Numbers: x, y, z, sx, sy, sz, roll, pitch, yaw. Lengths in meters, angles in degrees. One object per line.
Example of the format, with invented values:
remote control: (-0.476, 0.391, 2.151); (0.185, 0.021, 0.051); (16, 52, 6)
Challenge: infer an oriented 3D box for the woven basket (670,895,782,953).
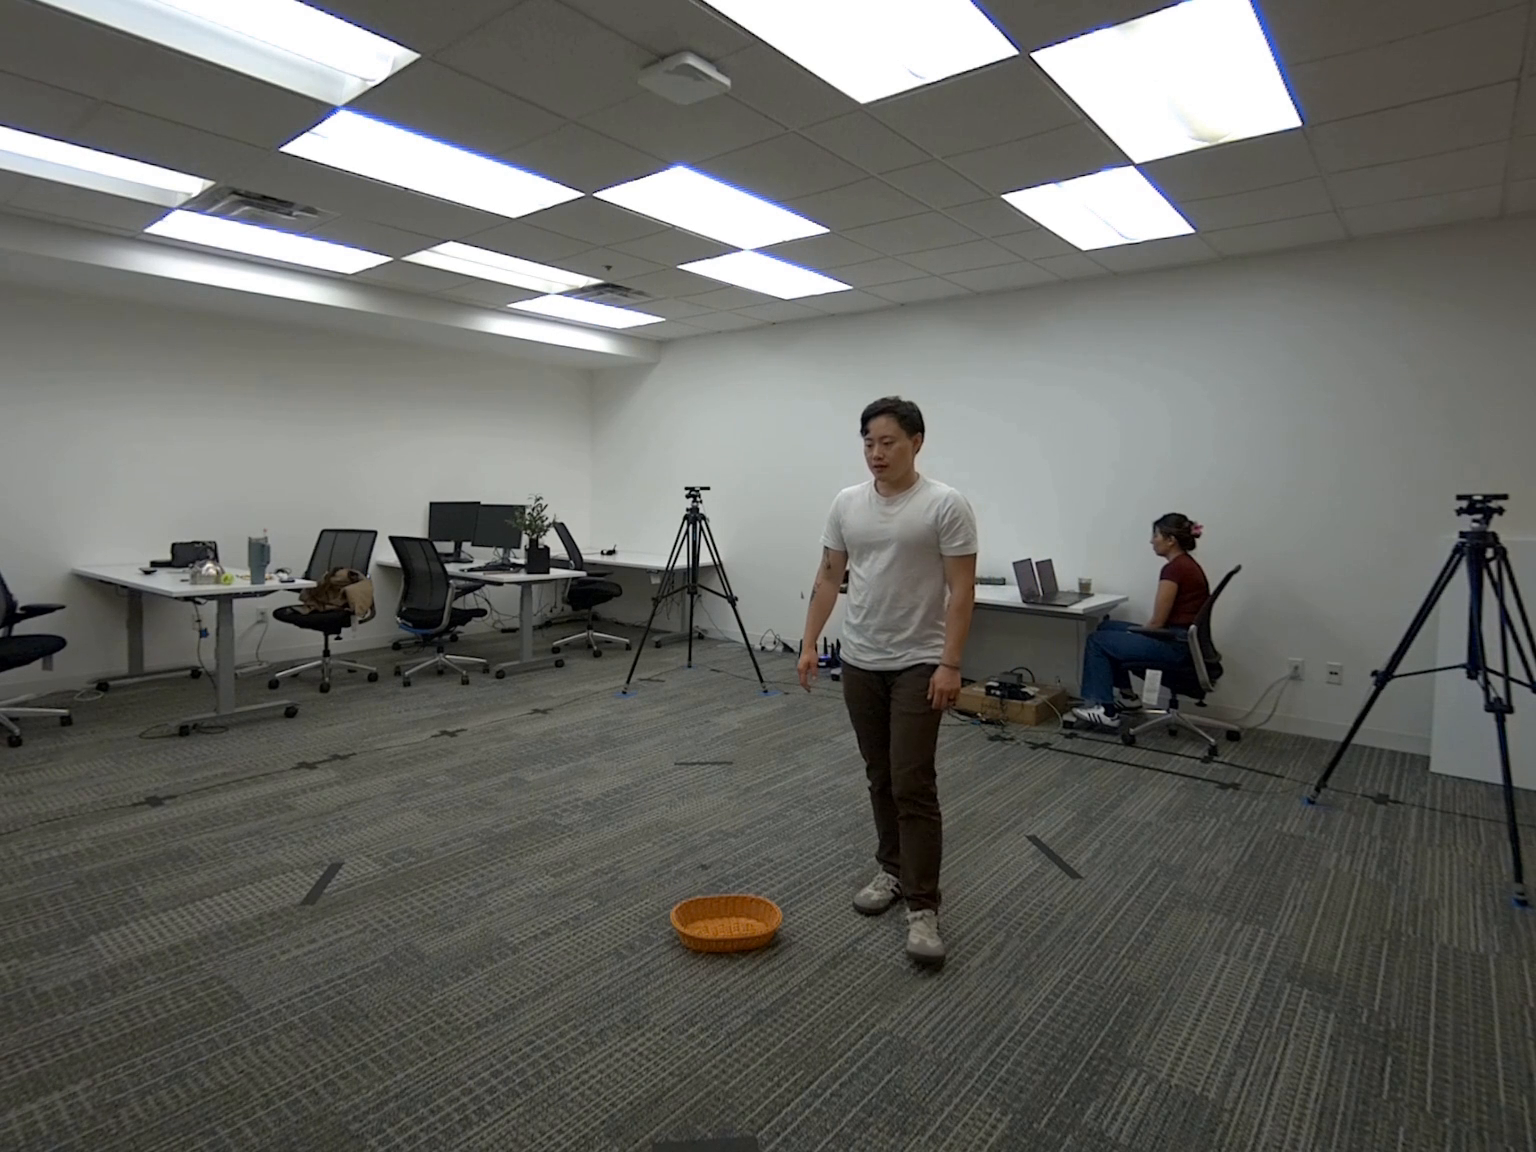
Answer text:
woven basket: (-0.134, 1.072, 2.625); (0.347, 0.073, 0.256); (0, 6, -10)
